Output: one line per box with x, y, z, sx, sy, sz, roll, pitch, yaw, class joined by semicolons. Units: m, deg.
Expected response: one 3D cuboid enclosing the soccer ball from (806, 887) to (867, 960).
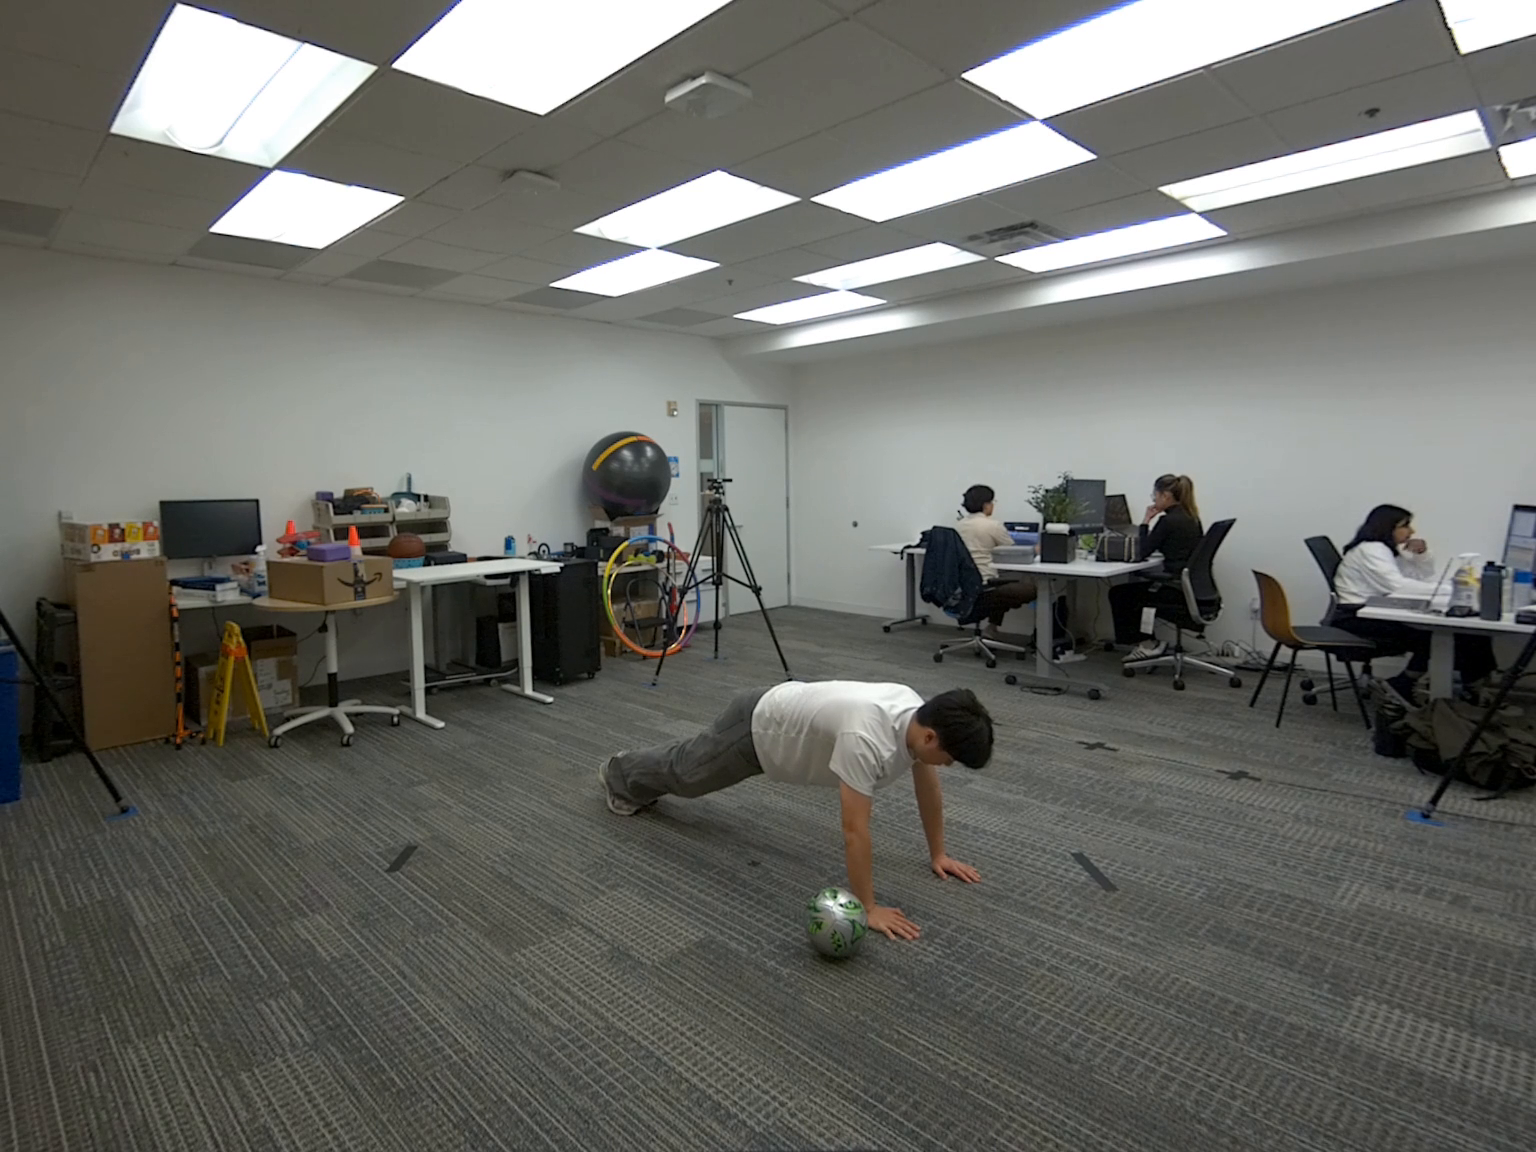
0.202;1.021;2.515;0.187;0.187;0.188;-1;5;-2;soccer ball
